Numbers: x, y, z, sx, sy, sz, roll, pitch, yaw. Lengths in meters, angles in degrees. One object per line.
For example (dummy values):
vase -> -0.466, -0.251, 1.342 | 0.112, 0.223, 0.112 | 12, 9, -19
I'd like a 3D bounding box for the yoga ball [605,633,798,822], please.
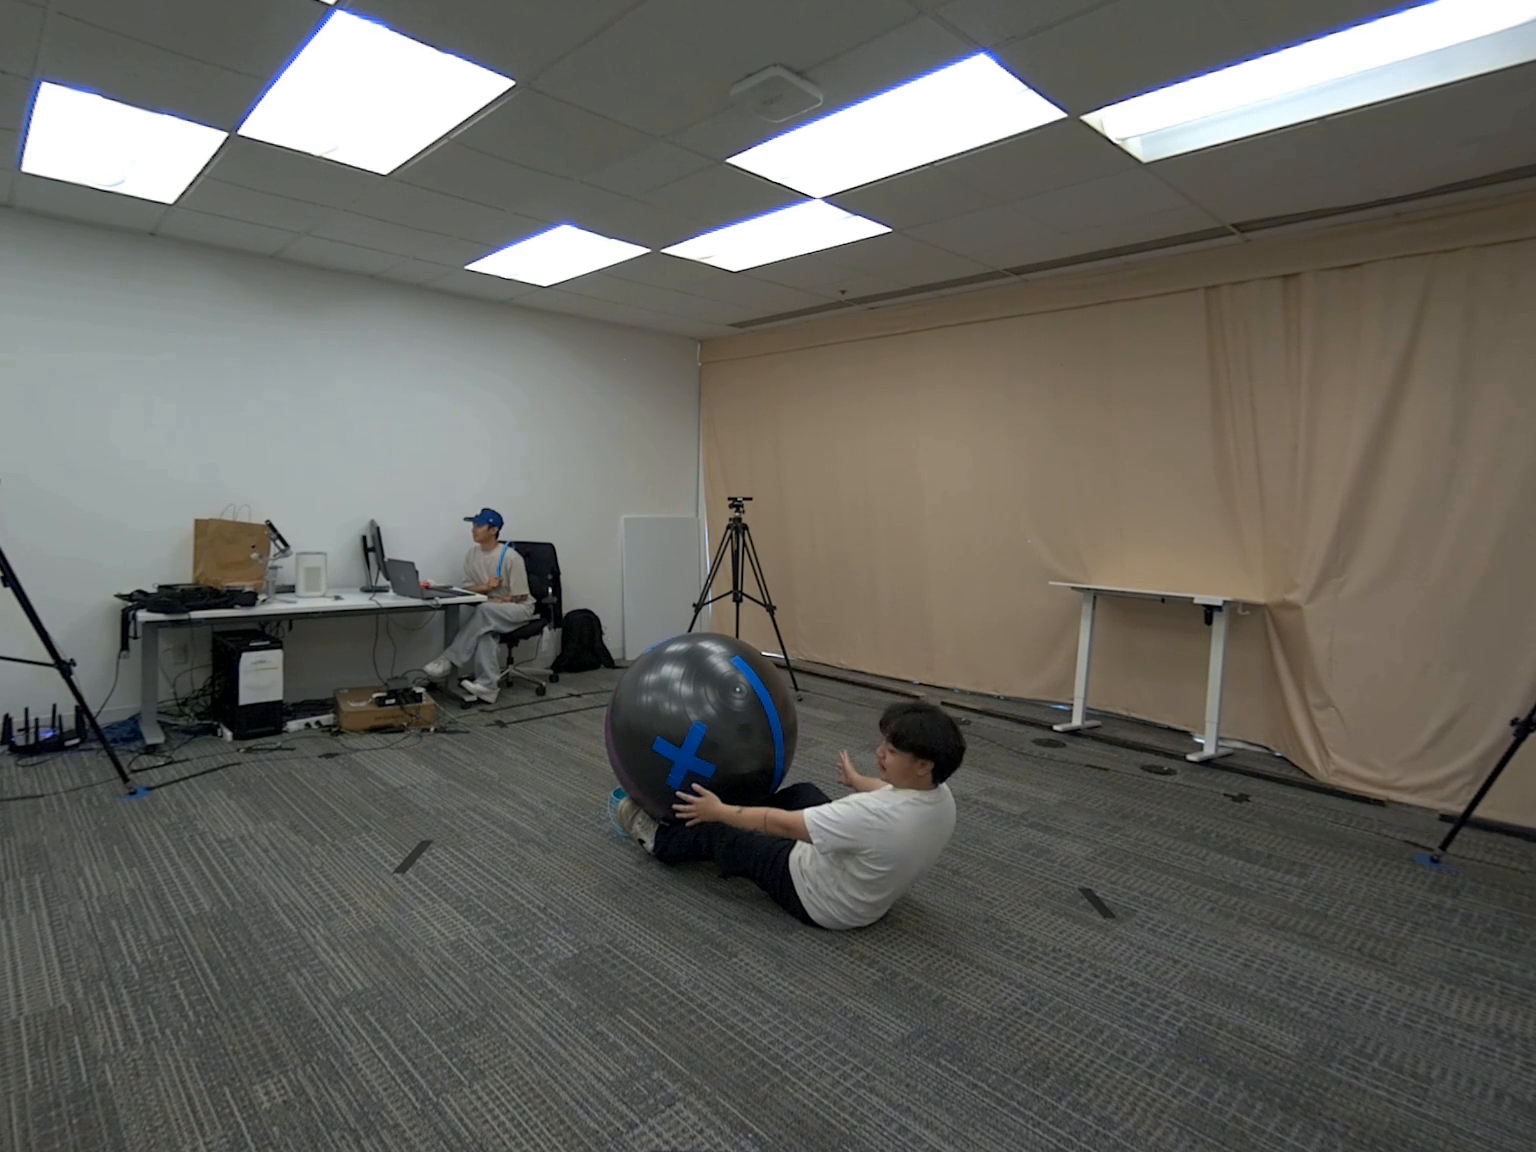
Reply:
yoga ball -> -0.267, 0.603, 3.332 | 0.757, 0.756, 0.760 | 1, 4, -1
